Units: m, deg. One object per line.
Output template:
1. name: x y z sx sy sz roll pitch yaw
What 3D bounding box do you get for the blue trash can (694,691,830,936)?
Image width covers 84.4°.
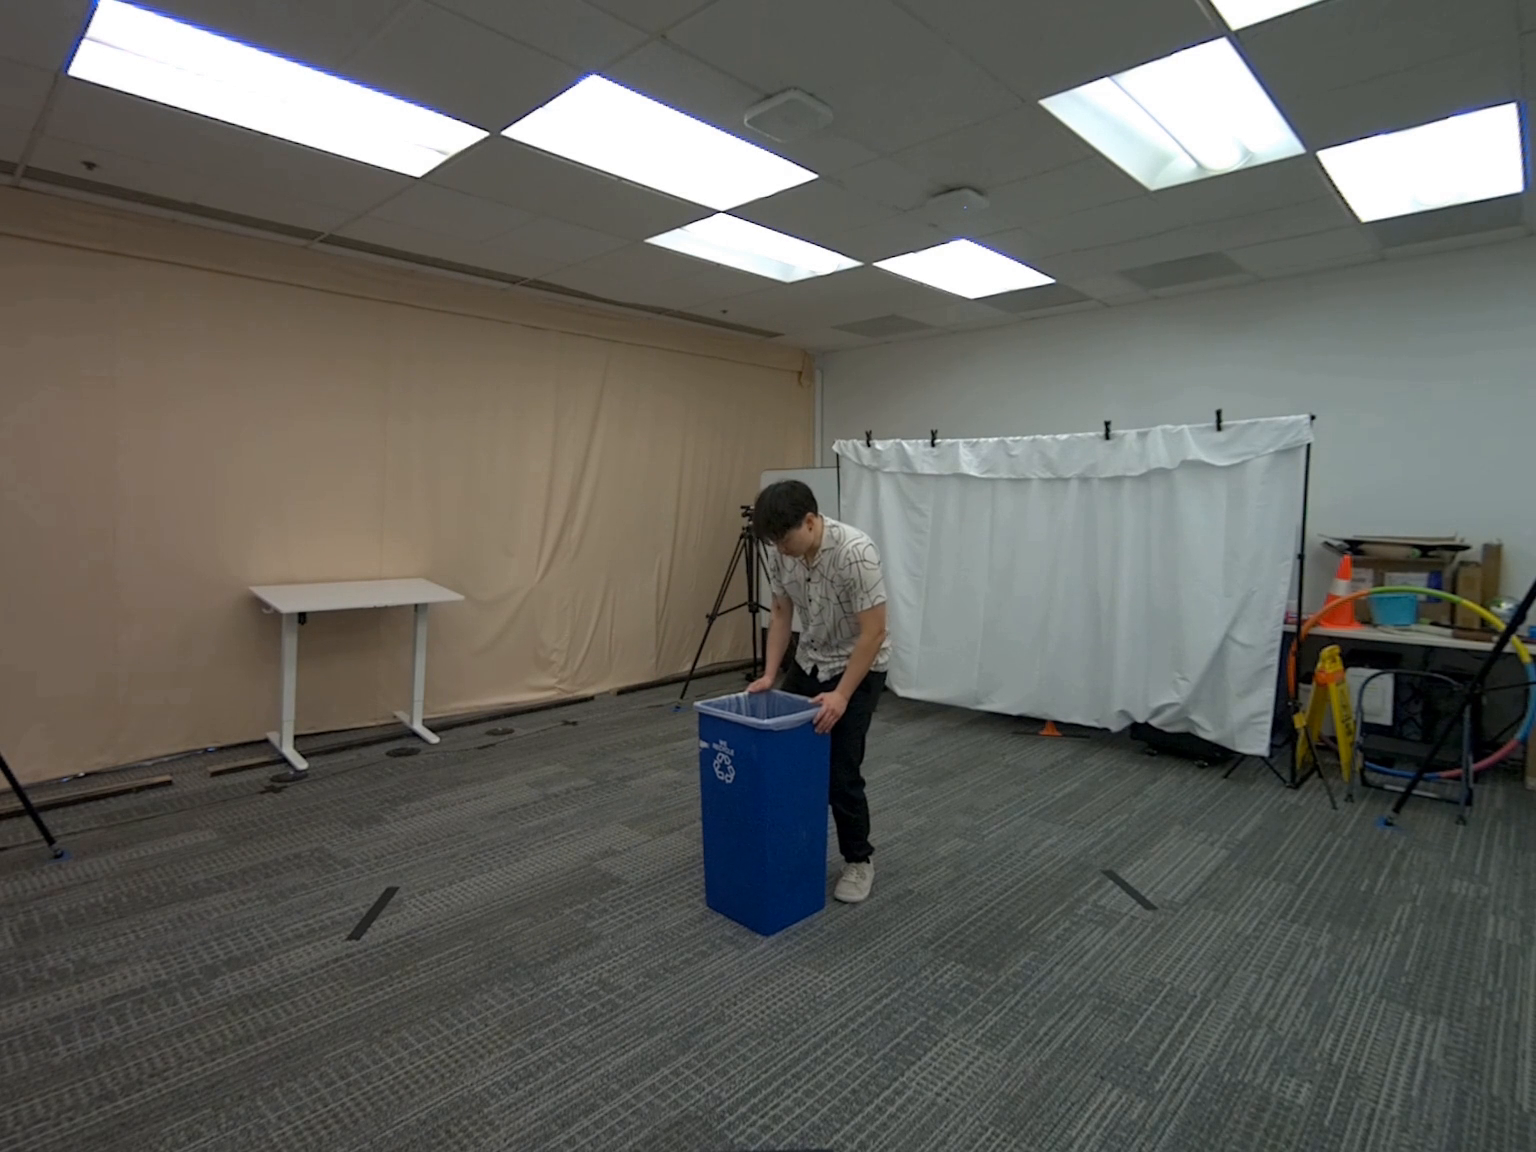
1. blue trash can: -0.013 0.794 2.893 0.362 0.712 0.391 -4 5 -44
